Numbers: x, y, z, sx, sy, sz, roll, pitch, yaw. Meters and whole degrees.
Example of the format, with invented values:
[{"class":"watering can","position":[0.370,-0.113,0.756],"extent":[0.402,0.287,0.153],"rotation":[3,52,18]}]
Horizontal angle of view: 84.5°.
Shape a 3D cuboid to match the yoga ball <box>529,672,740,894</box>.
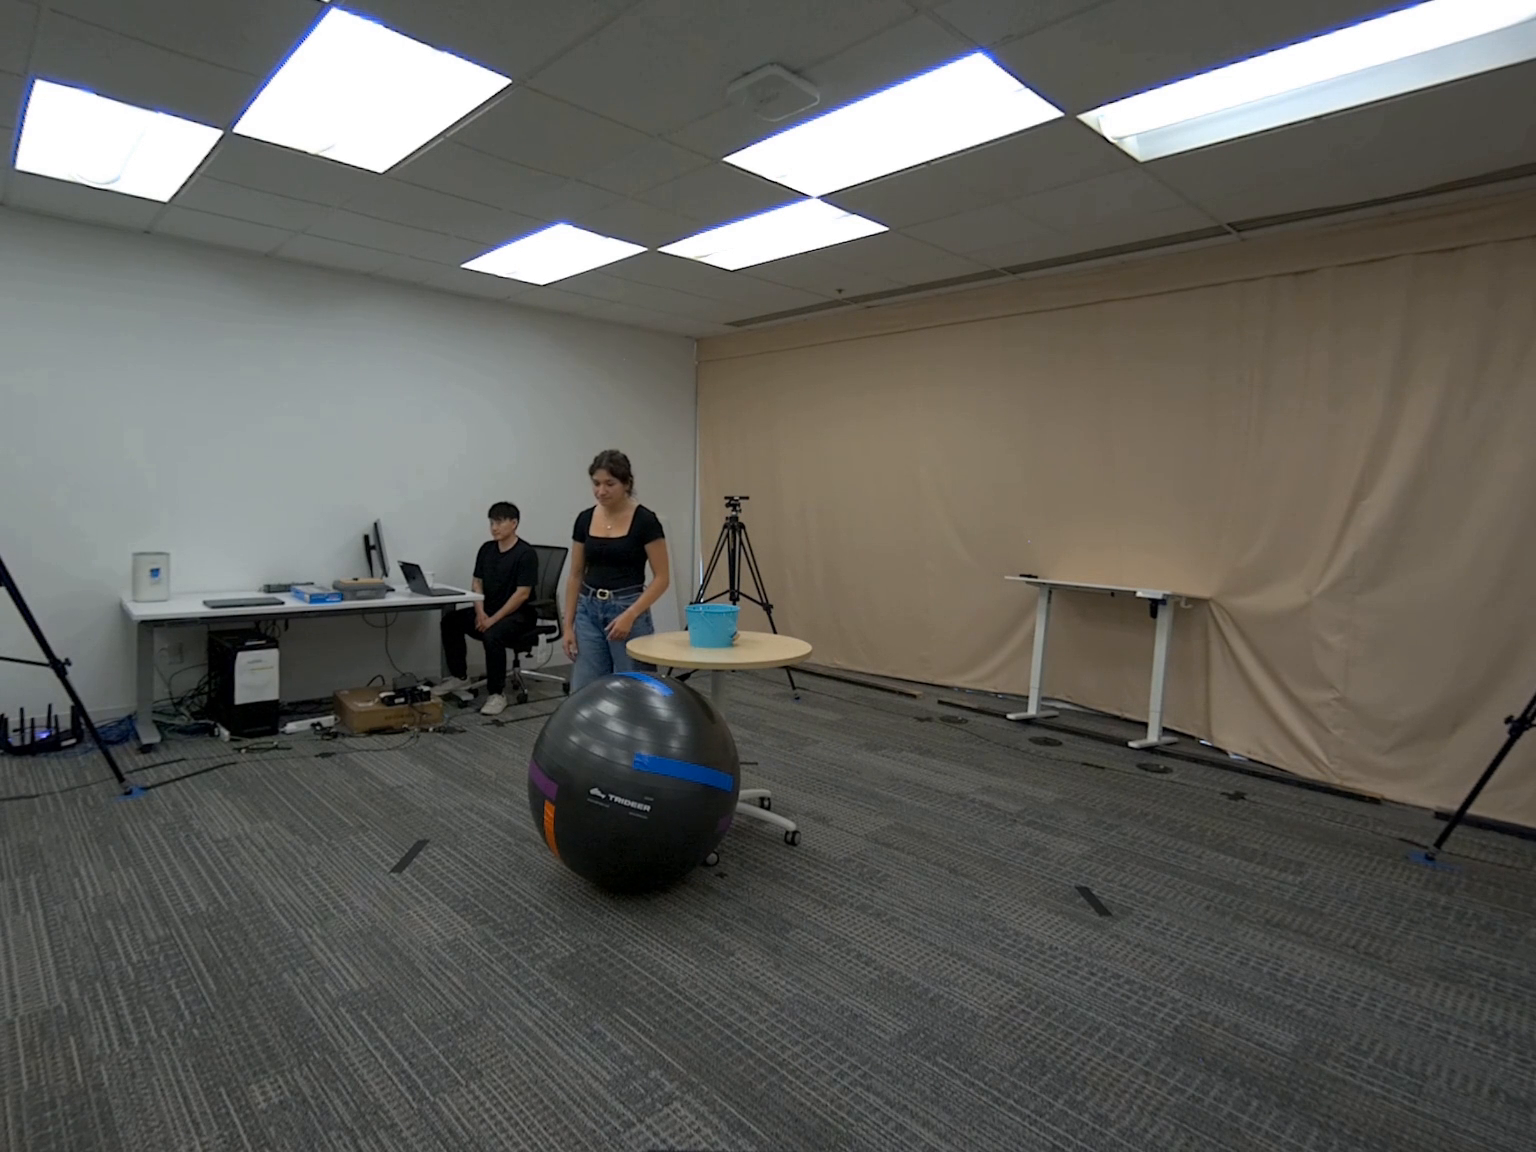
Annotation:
[{"class":"yoga ball","position":[-0.483,0.737,3.034],"extent":[0.757,0.756,0.761],"rotation":[1,4,-1]}]
